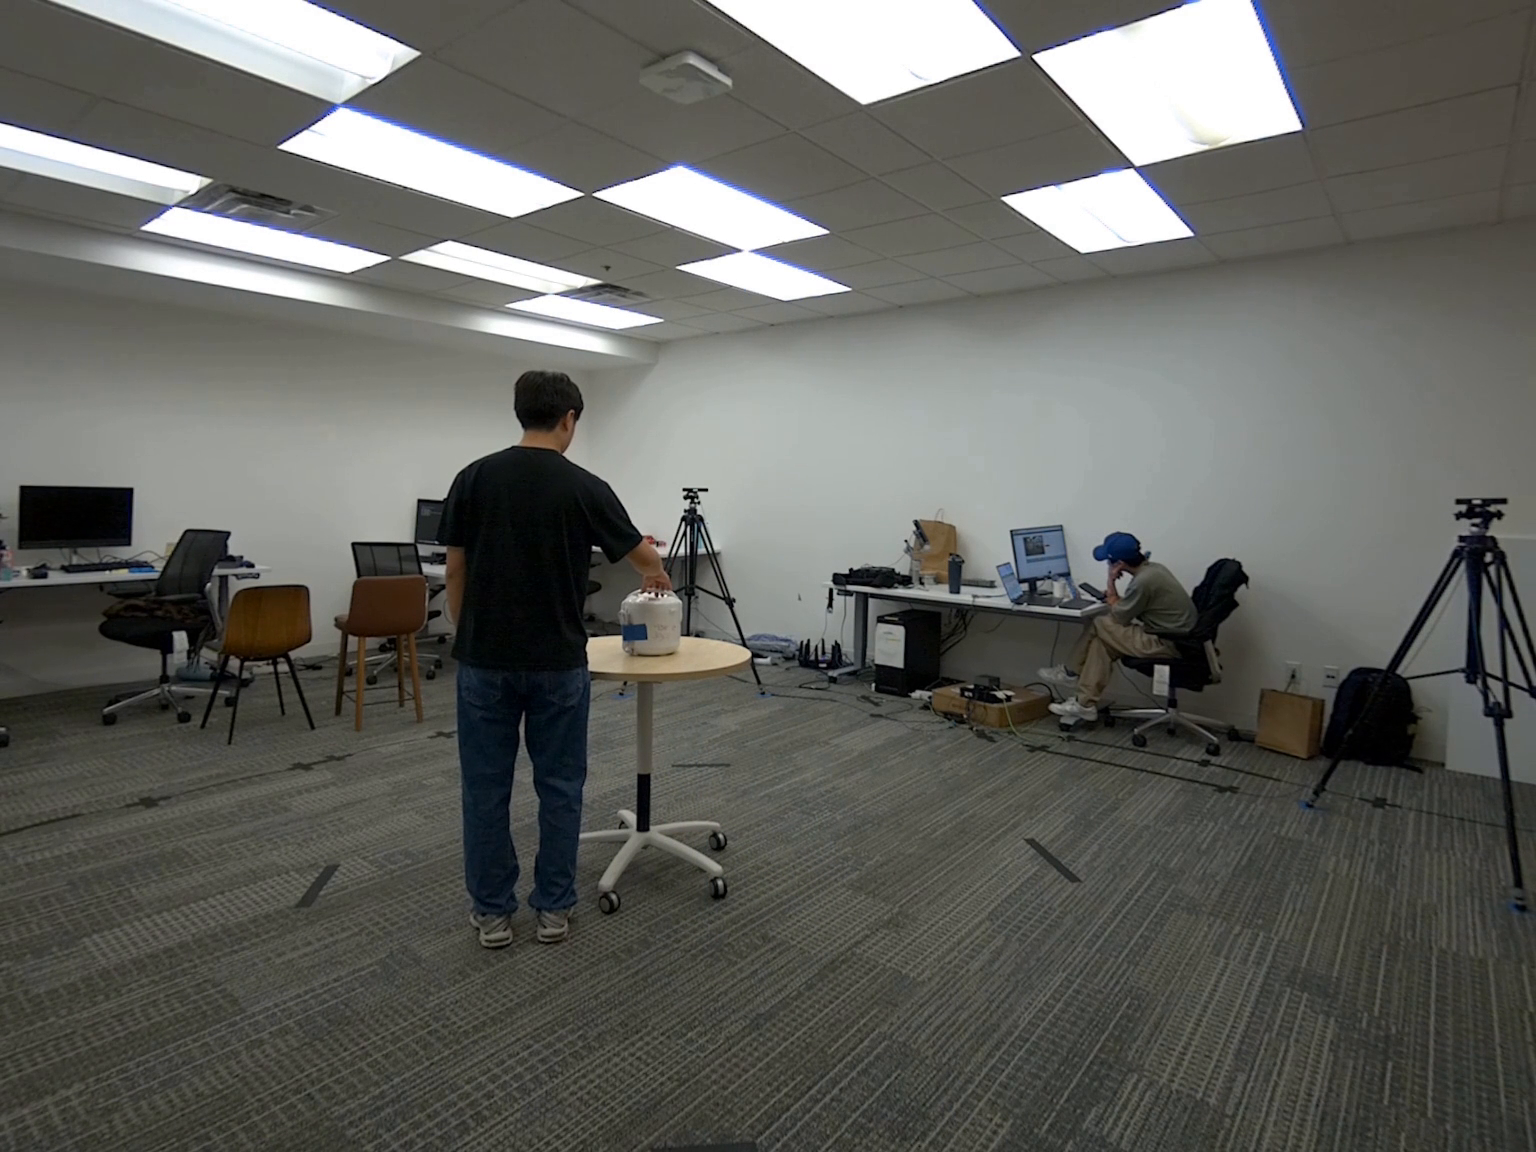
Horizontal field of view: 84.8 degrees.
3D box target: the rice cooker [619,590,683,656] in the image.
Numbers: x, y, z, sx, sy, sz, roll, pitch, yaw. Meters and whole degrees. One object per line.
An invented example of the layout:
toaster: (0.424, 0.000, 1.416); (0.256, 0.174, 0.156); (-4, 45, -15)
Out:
rice cooker: (-0.430, 0.157, 3.077); (0.221, 0.232, 0.218); (0, 5, 1)
